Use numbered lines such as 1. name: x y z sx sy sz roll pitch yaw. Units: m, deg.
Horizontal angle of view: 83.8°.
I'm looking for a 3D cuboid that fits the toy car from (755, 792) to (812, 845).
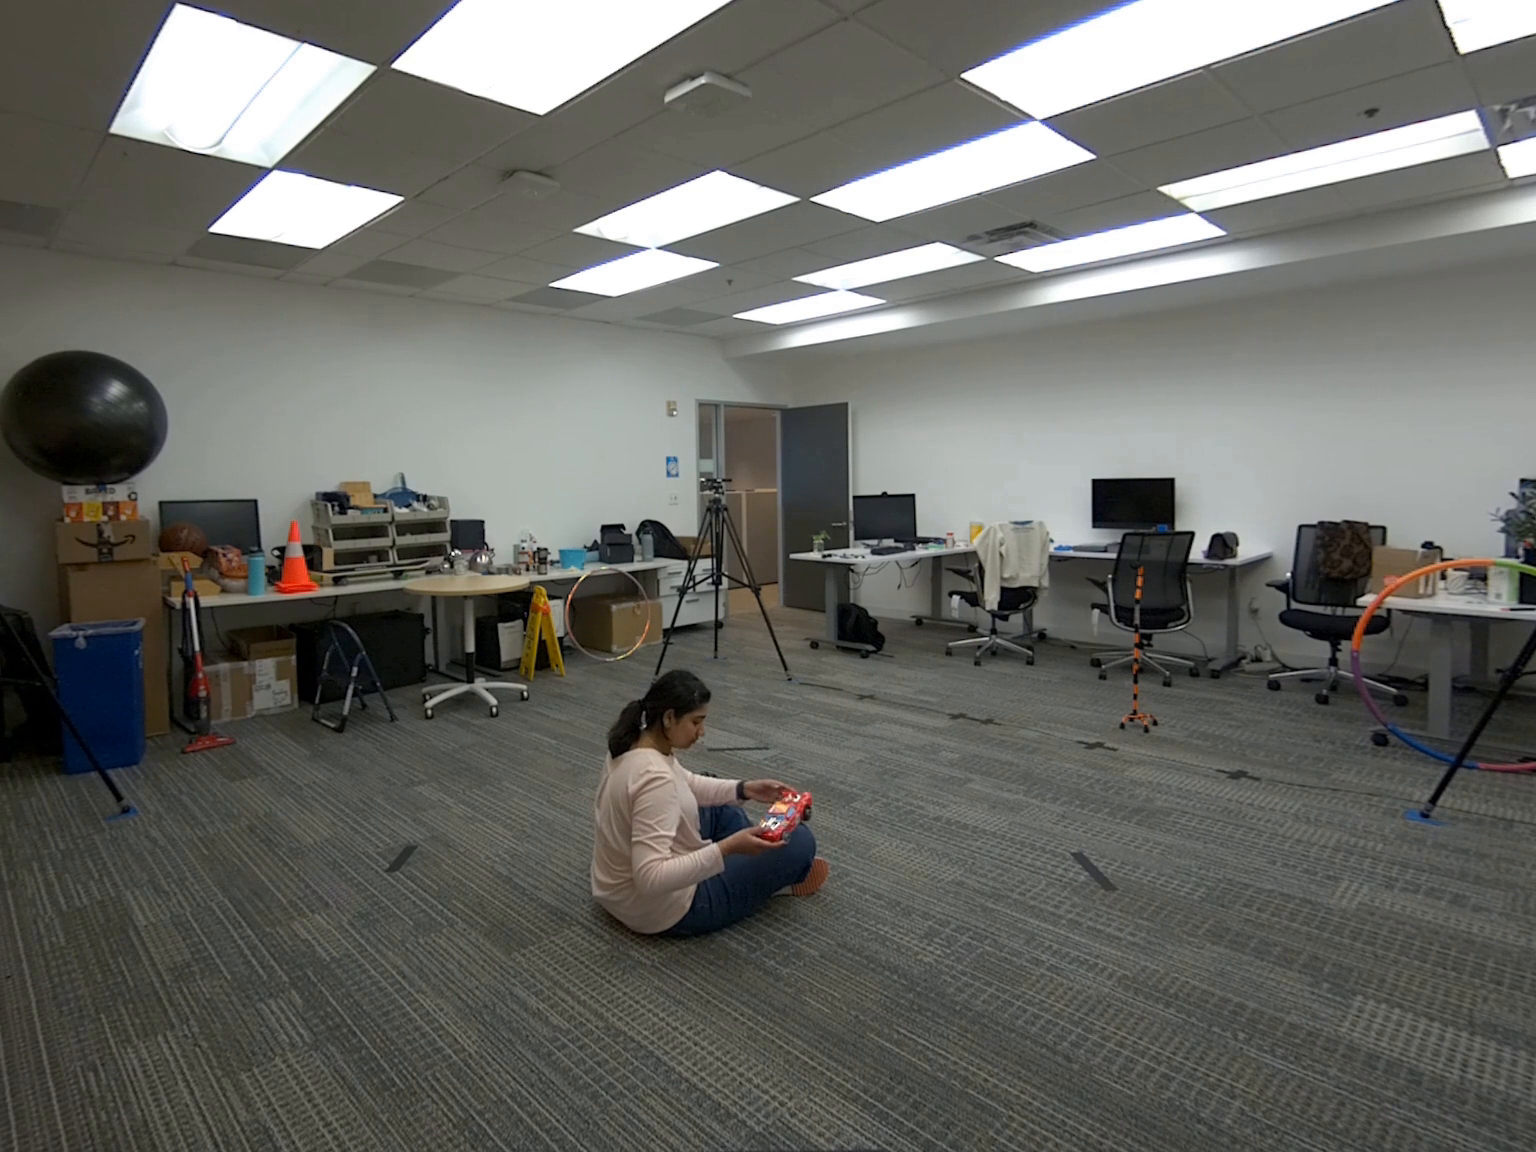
1. toy car: 0.051 0.743 2.615 0.133 0.082 0.253 -10 20 32
